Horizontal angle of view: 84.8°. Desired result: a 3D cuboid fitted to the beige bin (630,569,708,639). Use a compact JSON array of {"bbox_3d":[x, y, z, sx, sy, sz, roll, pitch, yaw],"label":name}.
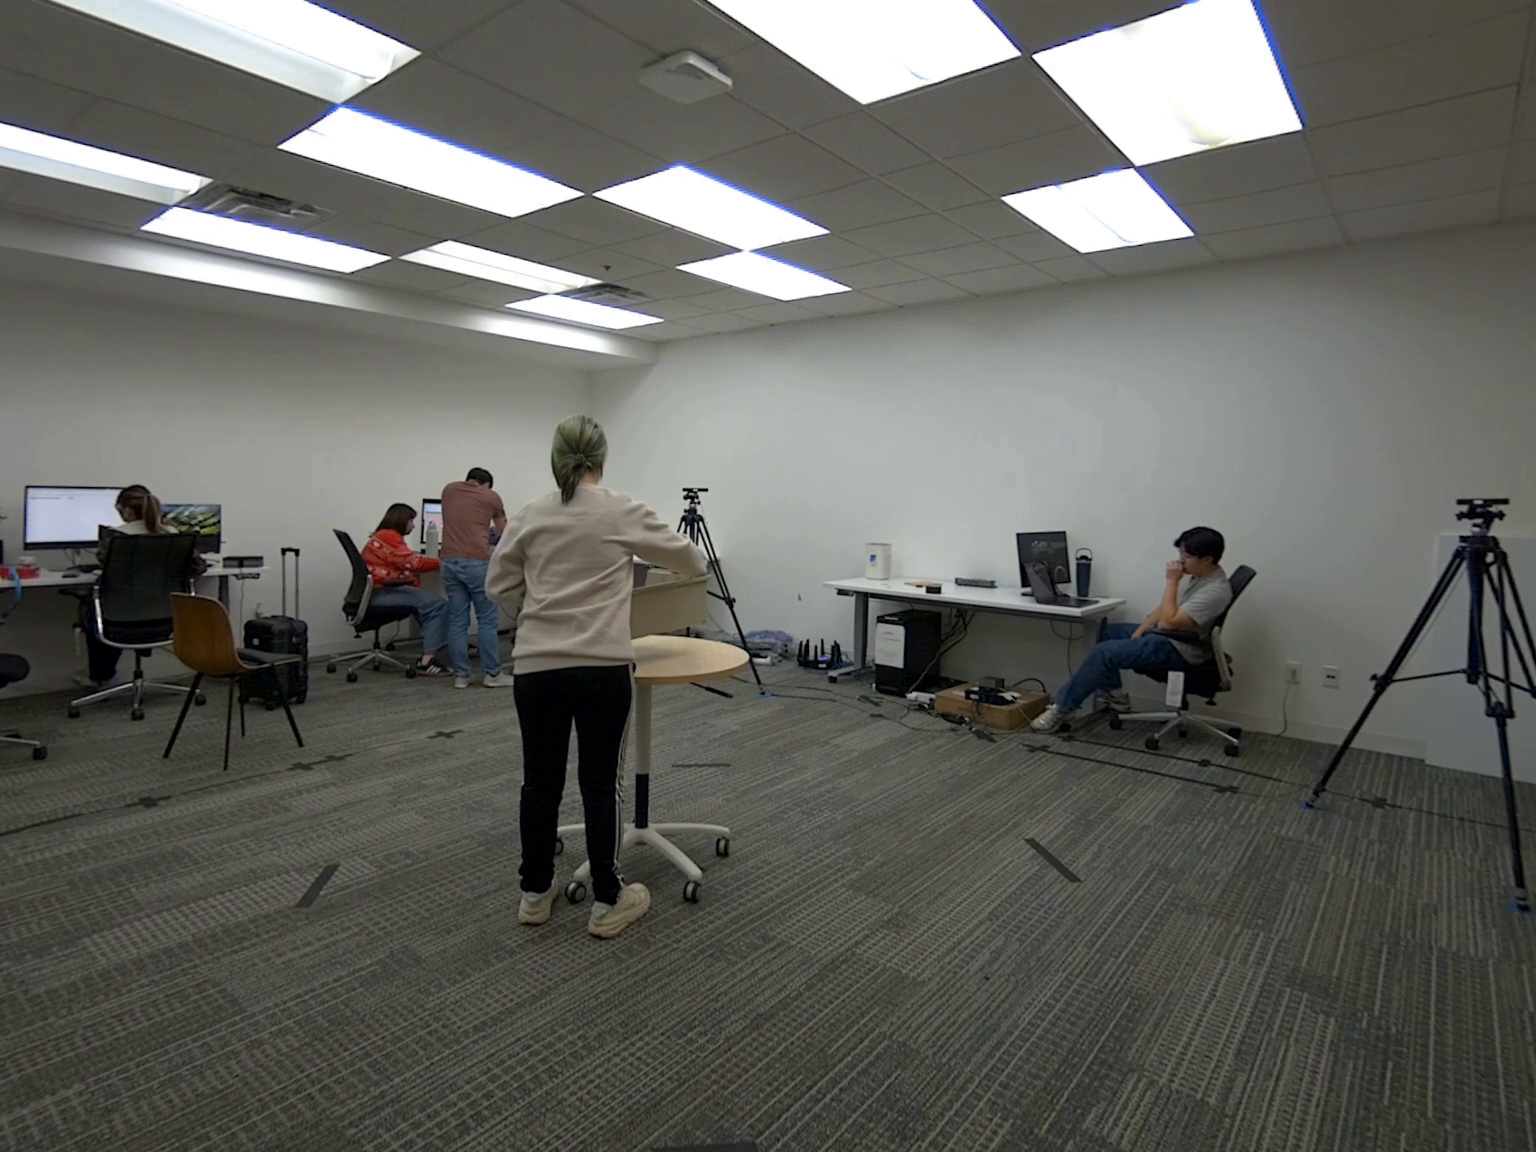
[{"bbox_3d":[-0.483,0.099,3.081,0.411,0.188,0.391,-8,11,-43],"label":"beige bin"}]
